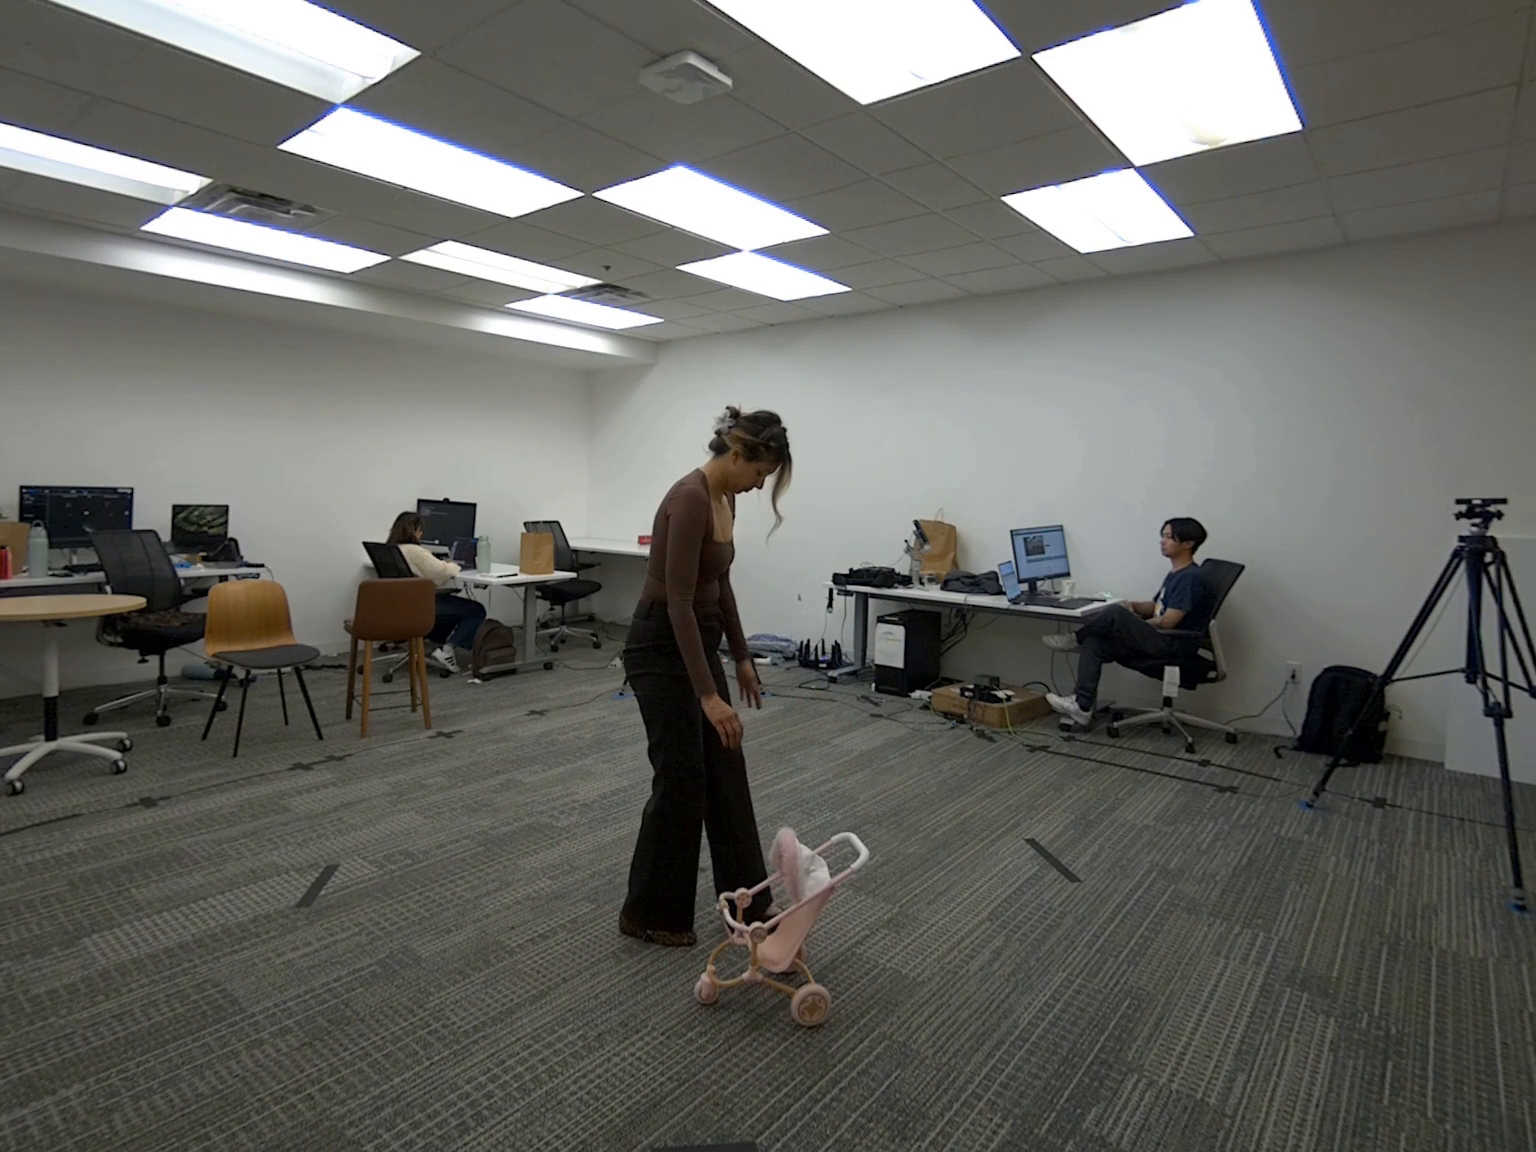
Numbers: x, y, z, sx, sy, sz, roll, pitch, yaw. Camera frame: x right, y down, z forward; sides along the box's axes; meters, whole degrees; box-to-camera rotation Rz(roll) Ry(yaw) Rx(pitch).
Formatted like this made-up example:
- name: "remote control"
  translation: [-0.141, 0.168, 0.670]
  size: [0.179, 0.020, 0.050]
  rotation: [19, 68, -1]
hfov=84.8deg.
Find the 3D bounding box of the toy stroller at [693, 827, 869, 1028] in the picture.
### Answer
- name: "toy stroller"
  translation: [0.017, 0.929, 2.315]
  size: [0.338, 0.535, 0.284]
  rotation: [18, 1, -7]
